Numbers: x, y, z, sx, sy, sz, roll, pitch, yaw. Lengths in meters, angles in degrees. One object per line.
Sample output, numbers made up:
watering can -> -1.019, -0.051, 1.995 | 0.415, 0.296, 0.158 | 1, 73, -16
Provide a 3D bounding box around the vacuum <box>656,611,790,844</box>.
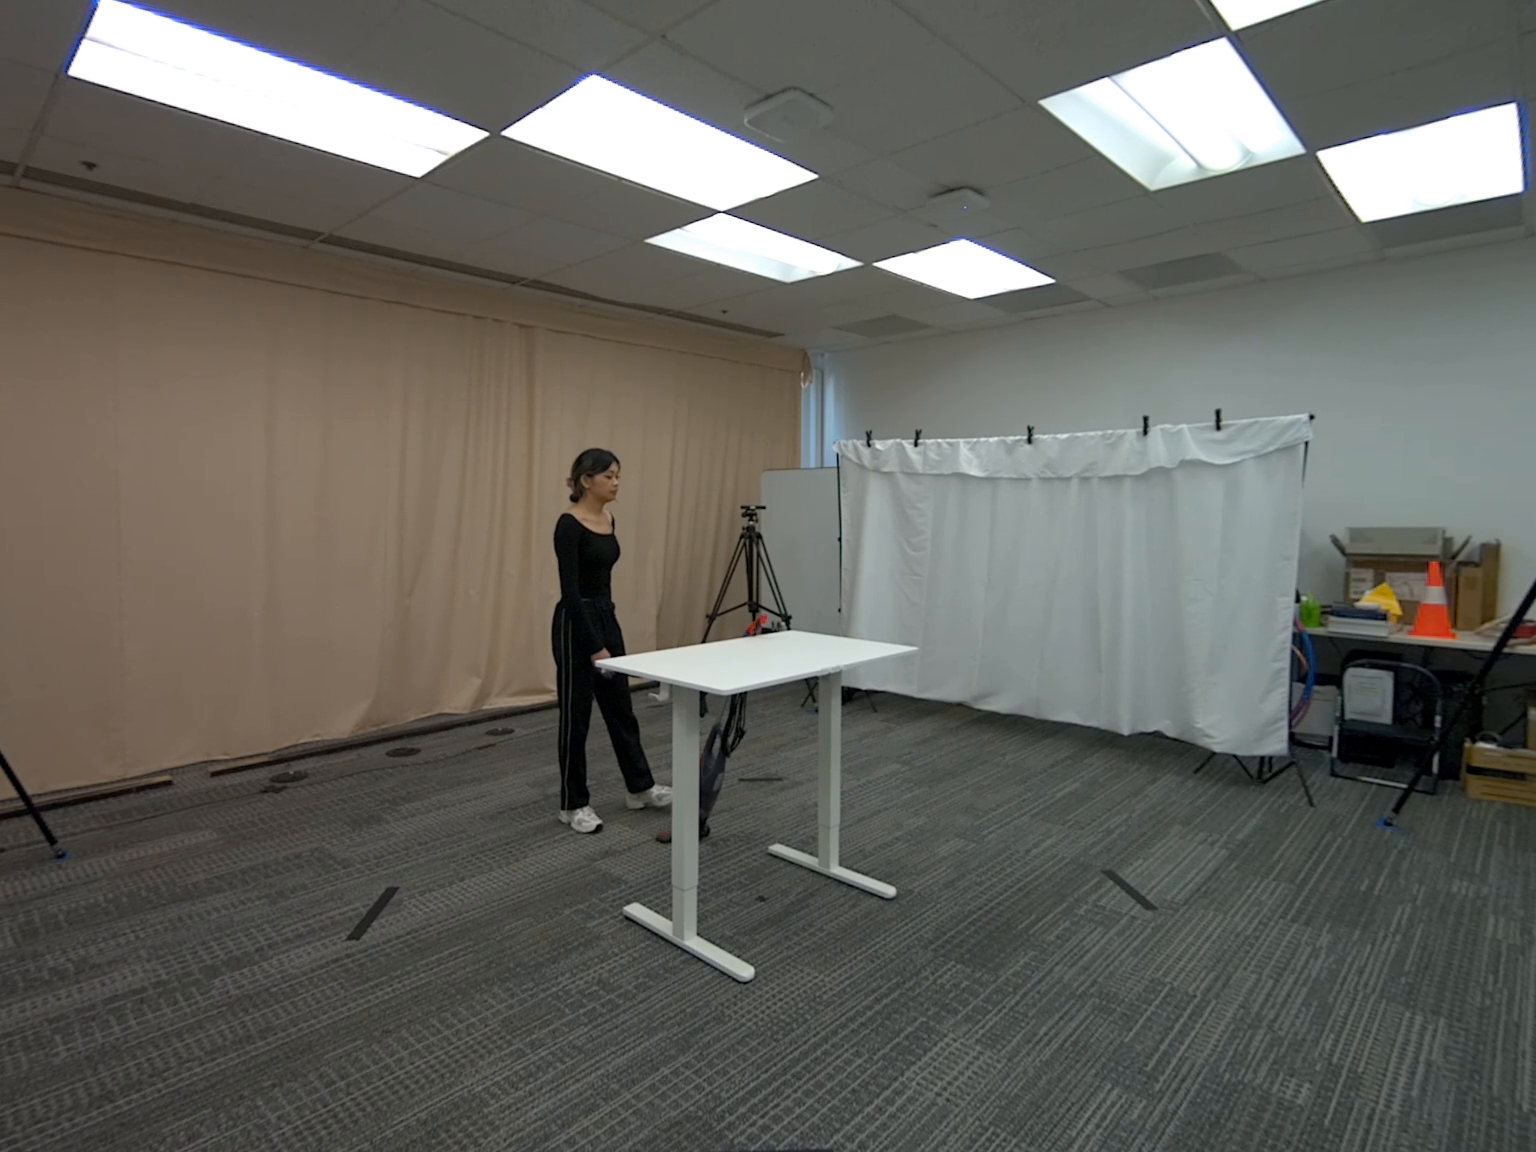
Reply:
vacuum -> -0.177, 0.631, 3.399 | 0.244, 1.045, 0.149 | 0, 26, -48
